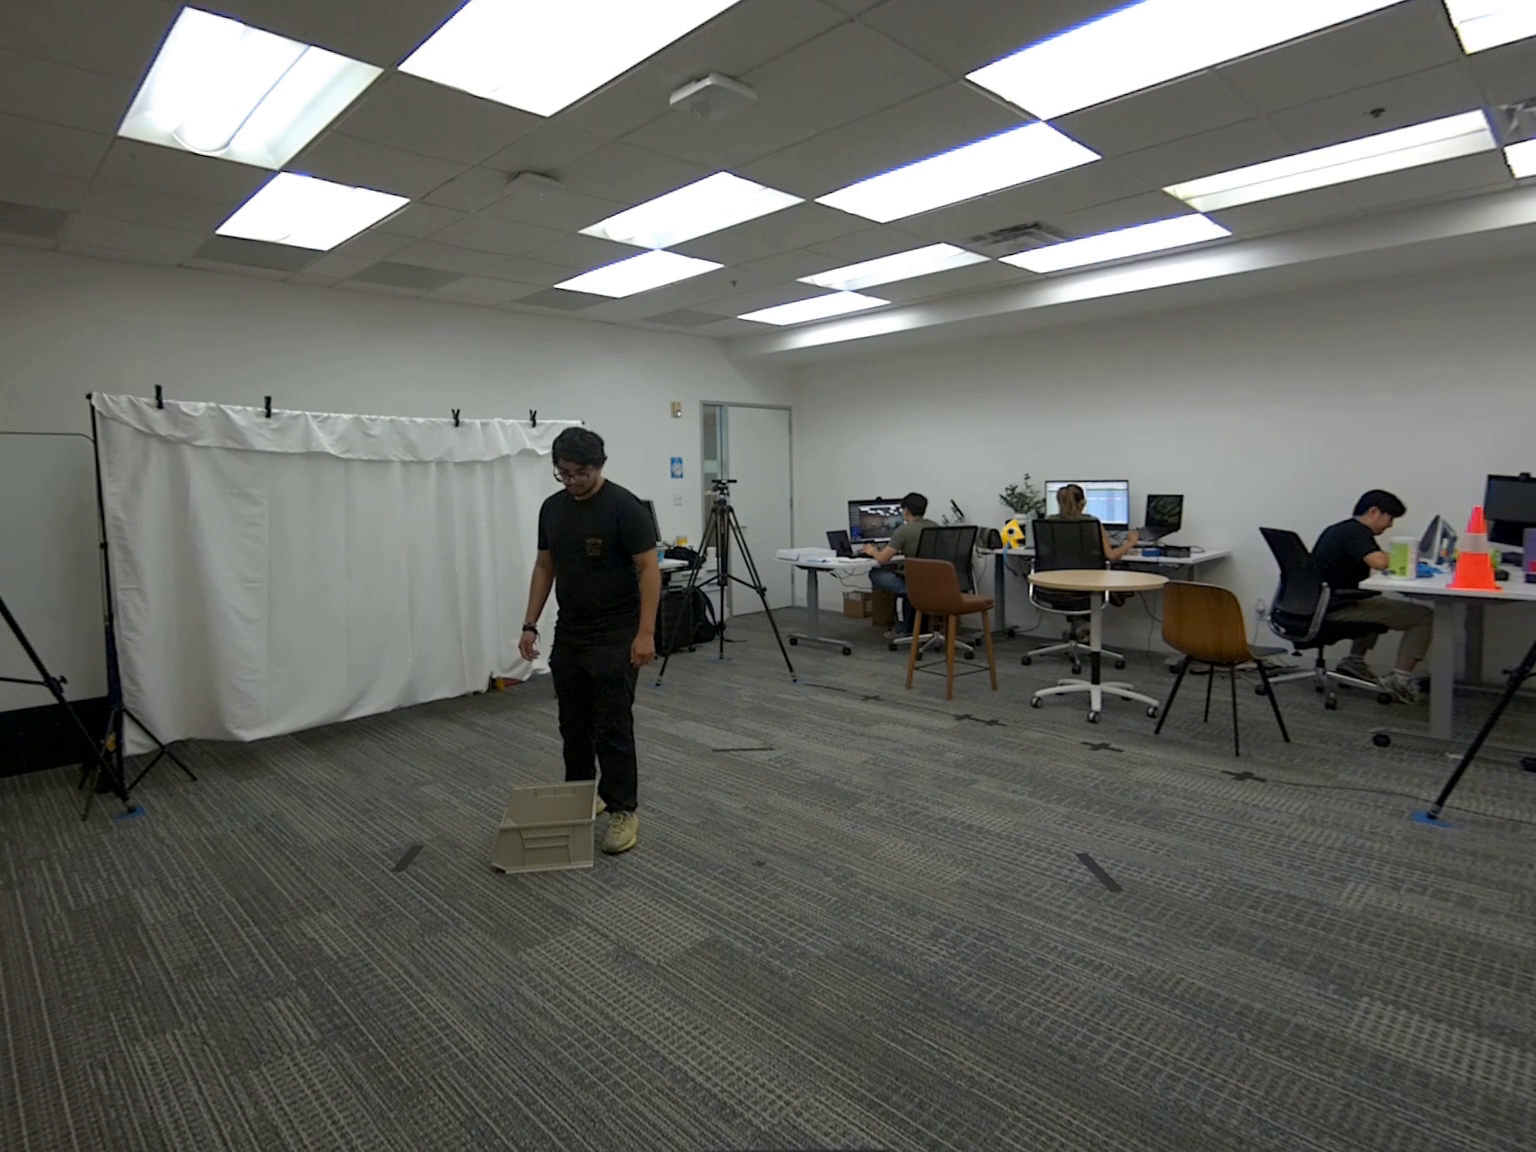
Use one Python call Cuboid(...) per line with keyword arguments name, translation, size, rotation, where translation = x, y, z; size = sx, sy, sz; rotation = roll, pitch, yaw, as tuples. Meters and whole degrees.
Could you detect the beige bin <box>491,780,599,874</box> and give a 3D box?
Cuboid(name="beige bin", translation=(-0.845, 0.953, 3.281), size=(0.375, 0.188, 0.427), rotation=(-1, 5, -8))
